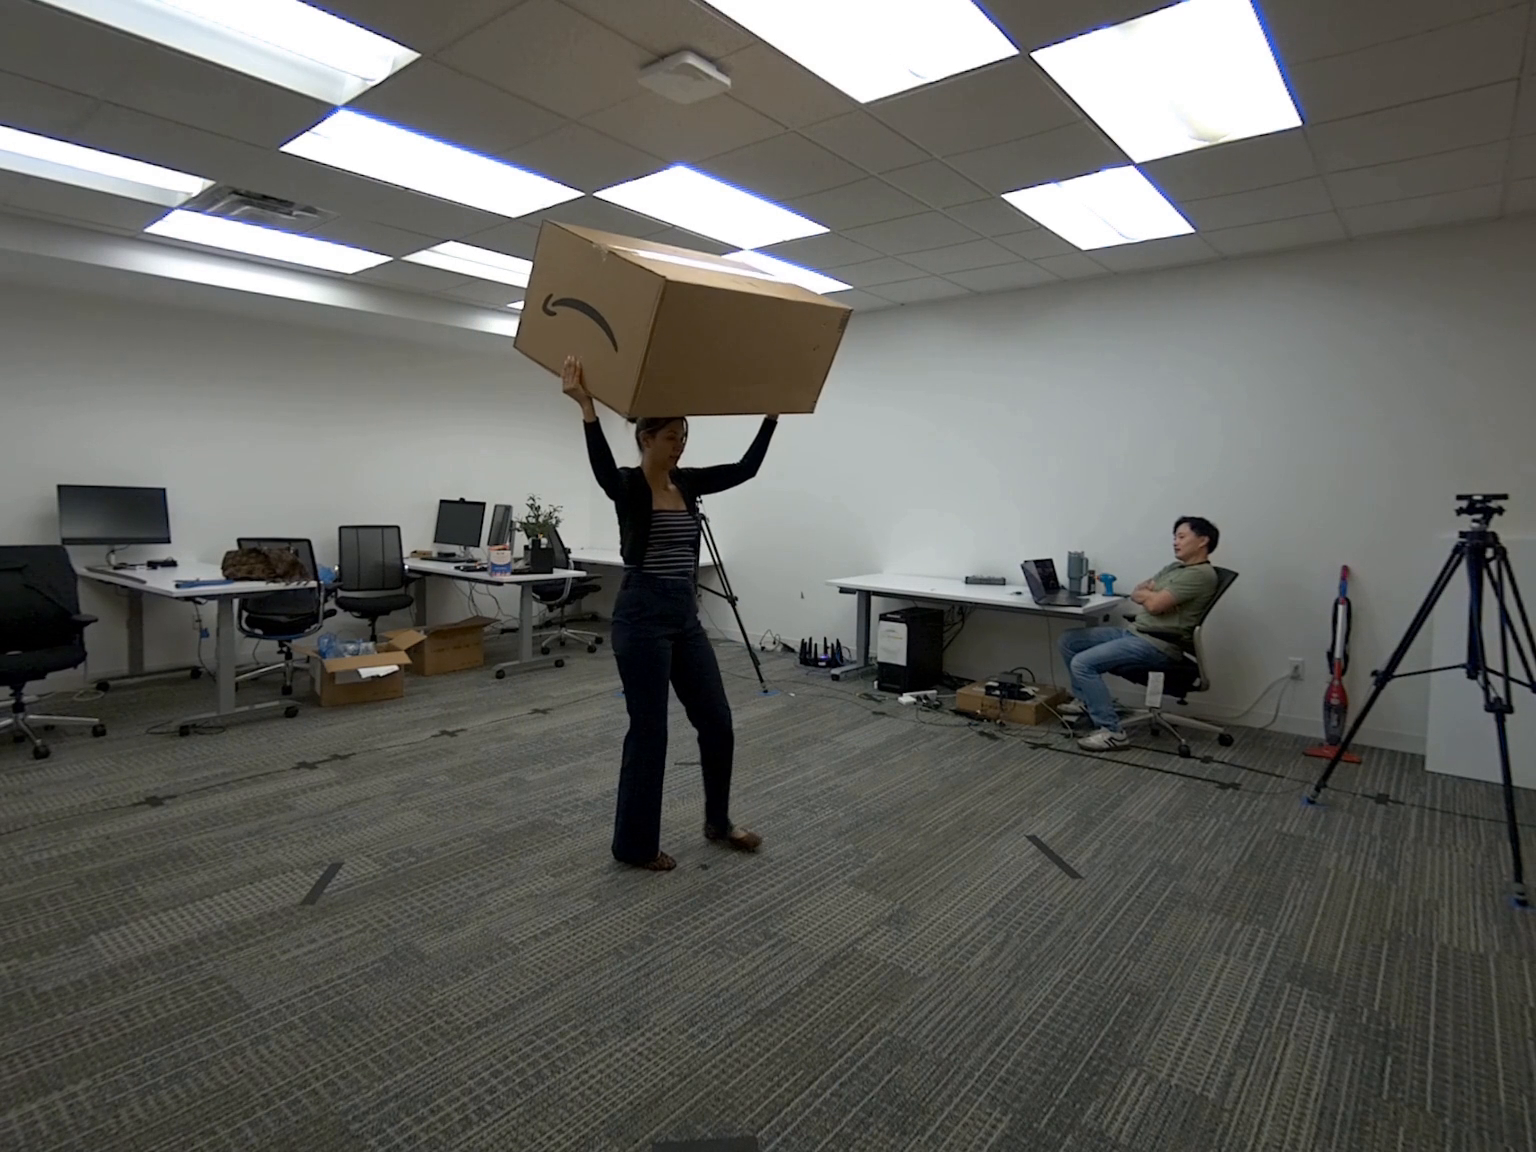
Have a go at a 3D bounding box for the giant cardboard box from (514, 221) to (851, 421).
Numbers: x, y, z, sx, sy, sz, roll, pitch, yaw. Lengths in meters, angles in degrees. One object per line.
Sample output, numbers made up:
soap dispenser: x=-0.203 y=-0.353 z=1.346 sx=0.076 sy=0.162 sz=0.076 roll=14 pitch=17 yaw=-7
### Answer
giant cardboard box: x=-0.276 y=-0.858 z=2.966 sx=0.599 sy=0.421 sz=1.001 roll=34 pitch=28 yaw=28
